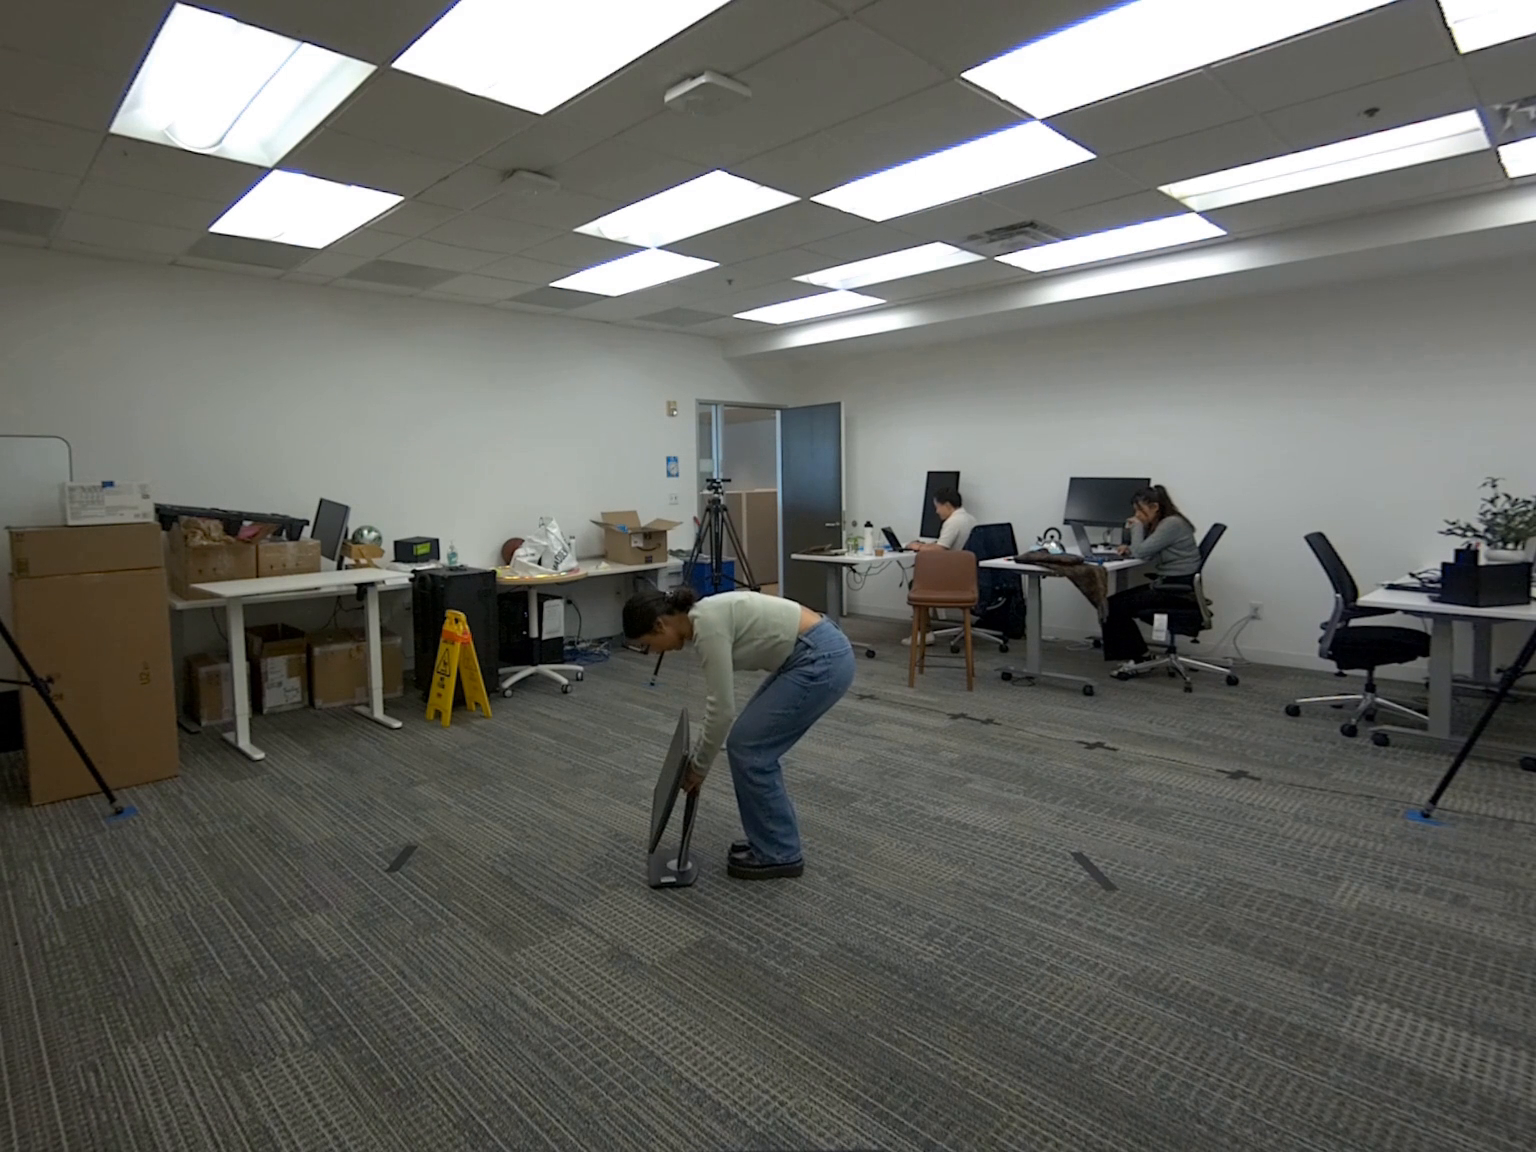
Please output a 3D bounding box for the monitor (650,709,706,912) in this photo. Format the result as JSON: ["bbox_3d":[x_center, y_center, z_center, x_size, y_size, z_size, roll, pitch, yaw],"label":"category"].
[{"bbox_3d":[-0.324,0.801,3.043,0.174,0.513,0.535,-1,6,-6],"label":"monitor"}]
